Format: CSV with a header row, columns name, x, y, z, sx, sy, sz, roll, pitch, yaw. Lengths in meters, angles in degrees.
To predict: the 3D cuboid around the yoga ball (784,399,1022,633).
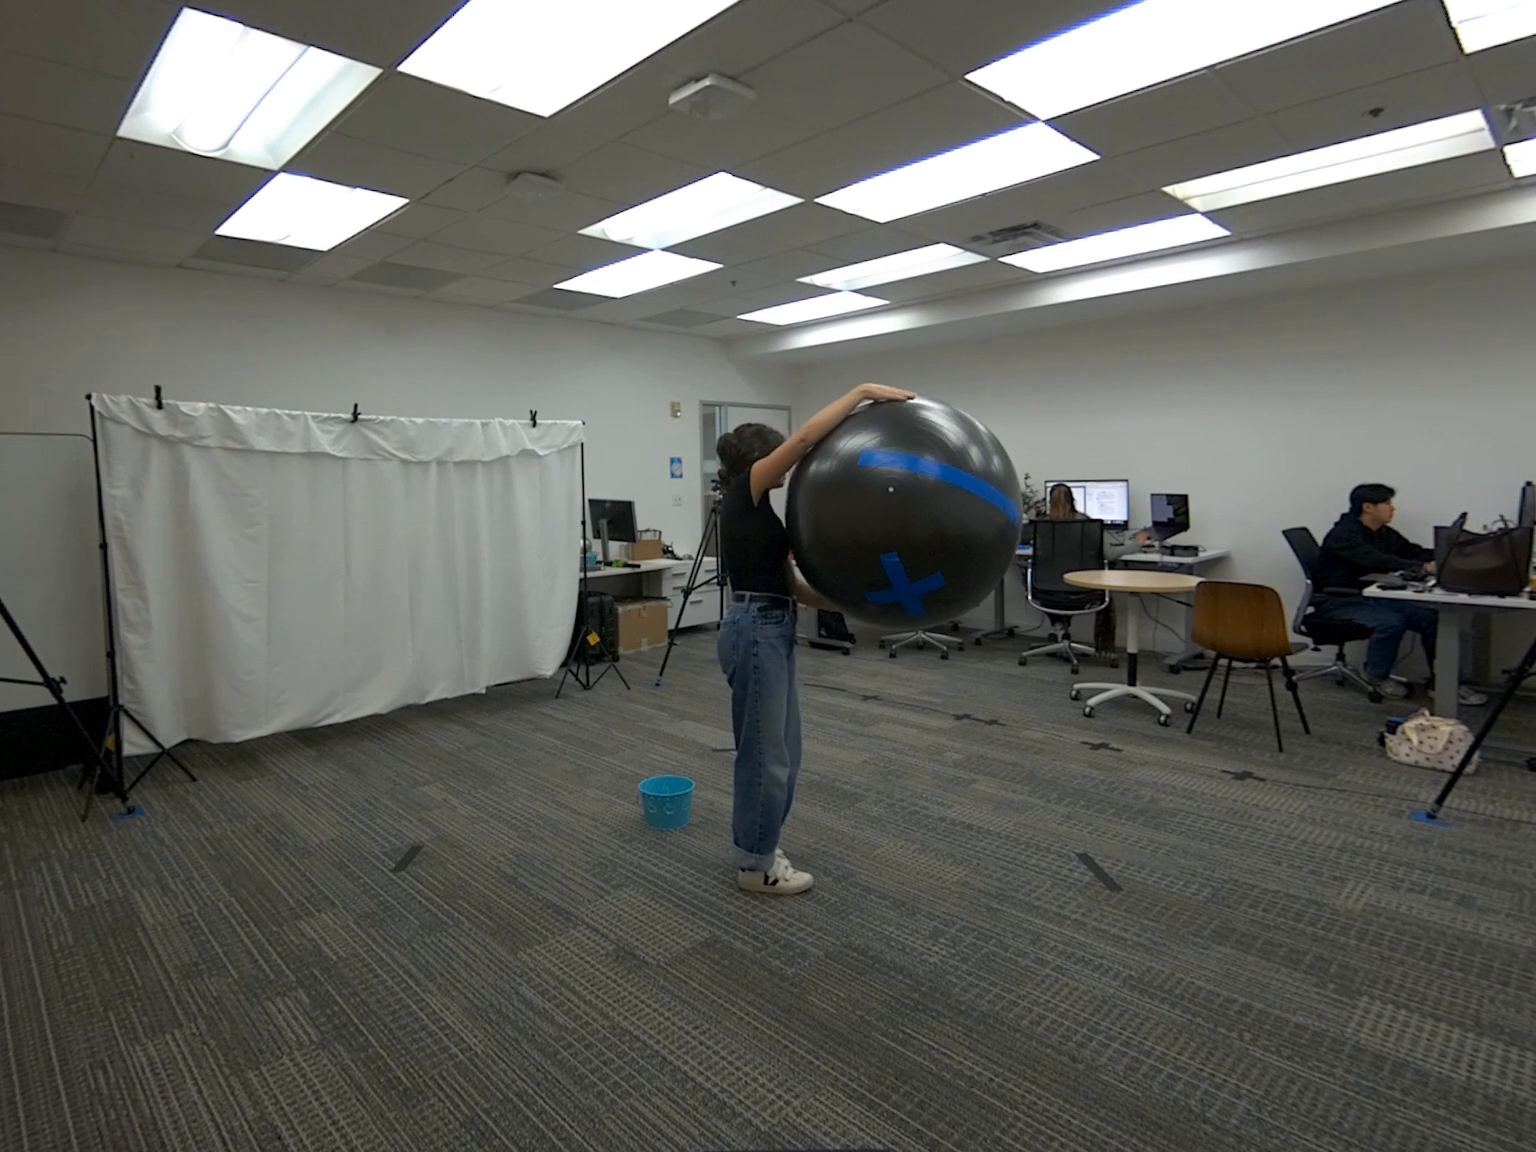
name,x,y,z,sx,sy,sz,roll,pitch,yaw
yoga ball,0.450,-0.200,2.793,0.757,0.755,0.762,-1,5,-2
